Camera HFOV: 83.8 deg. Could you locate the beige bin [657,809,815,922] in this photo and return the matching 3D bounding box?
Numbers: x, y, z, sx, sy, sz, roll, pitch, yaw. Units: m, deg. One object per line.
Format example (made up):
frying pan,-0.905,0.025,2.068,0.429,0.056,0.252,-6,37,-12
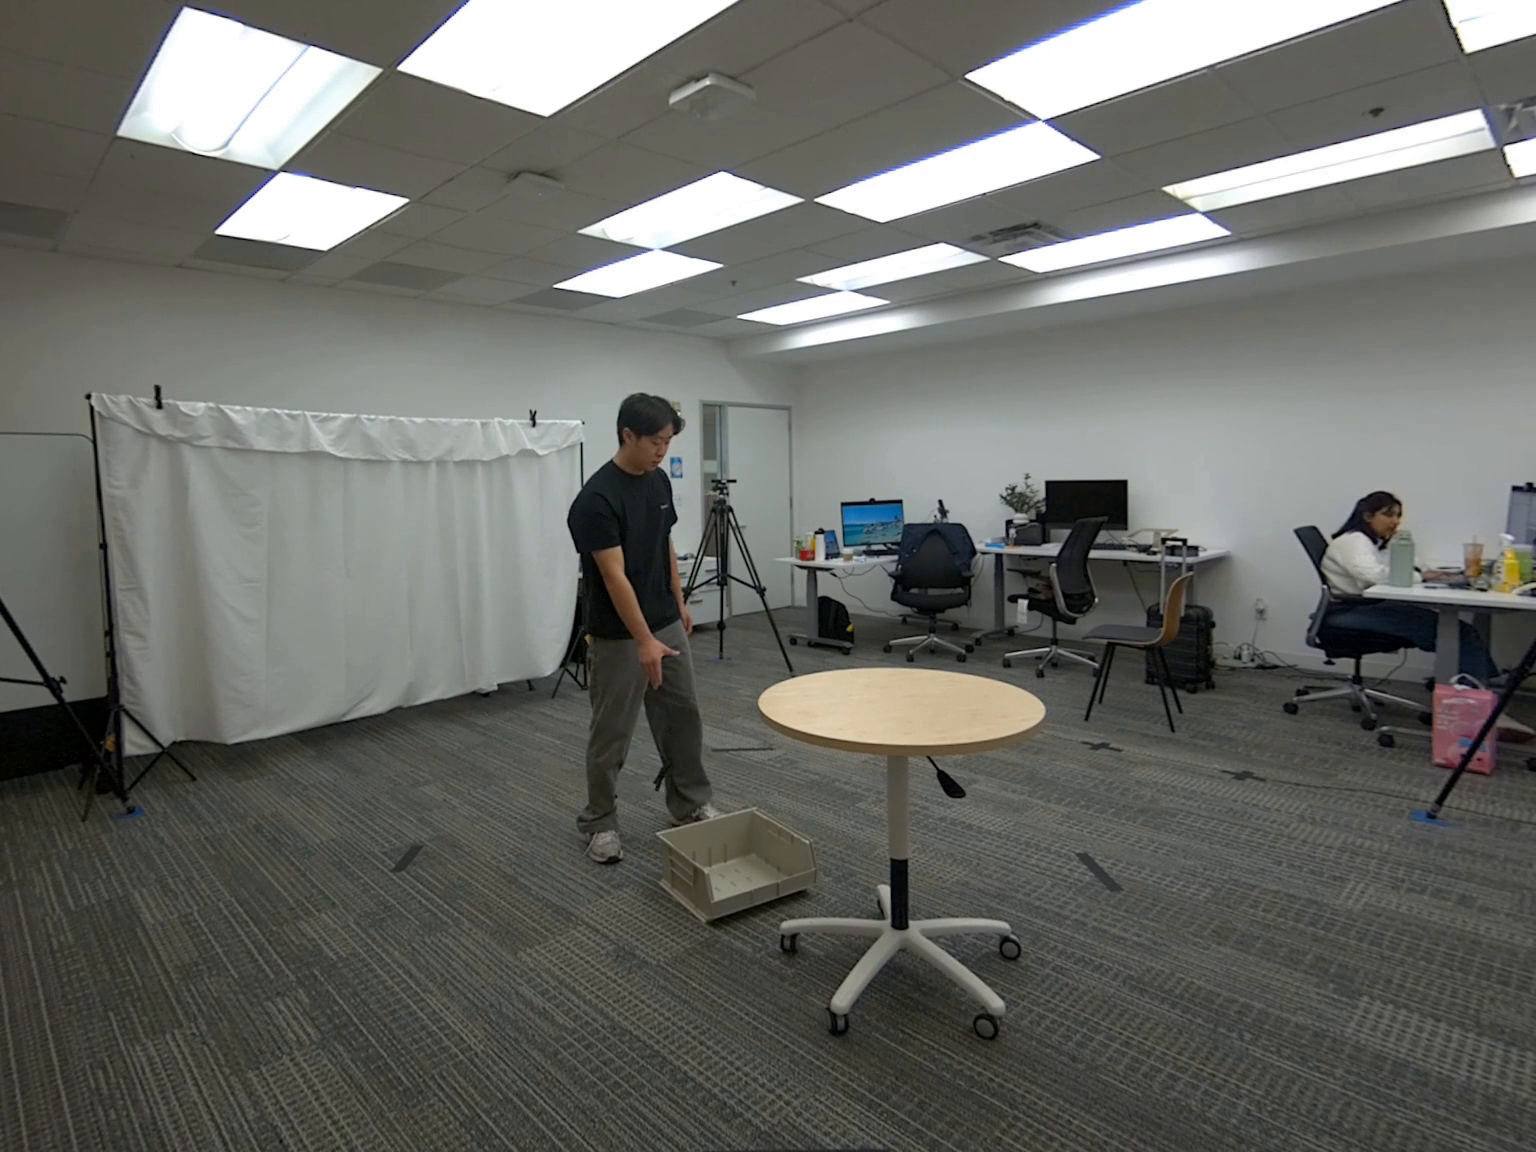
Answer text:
beige bin,-0.107,0.981,2.913,0.412,0.188,0.388,-5,7,-33
